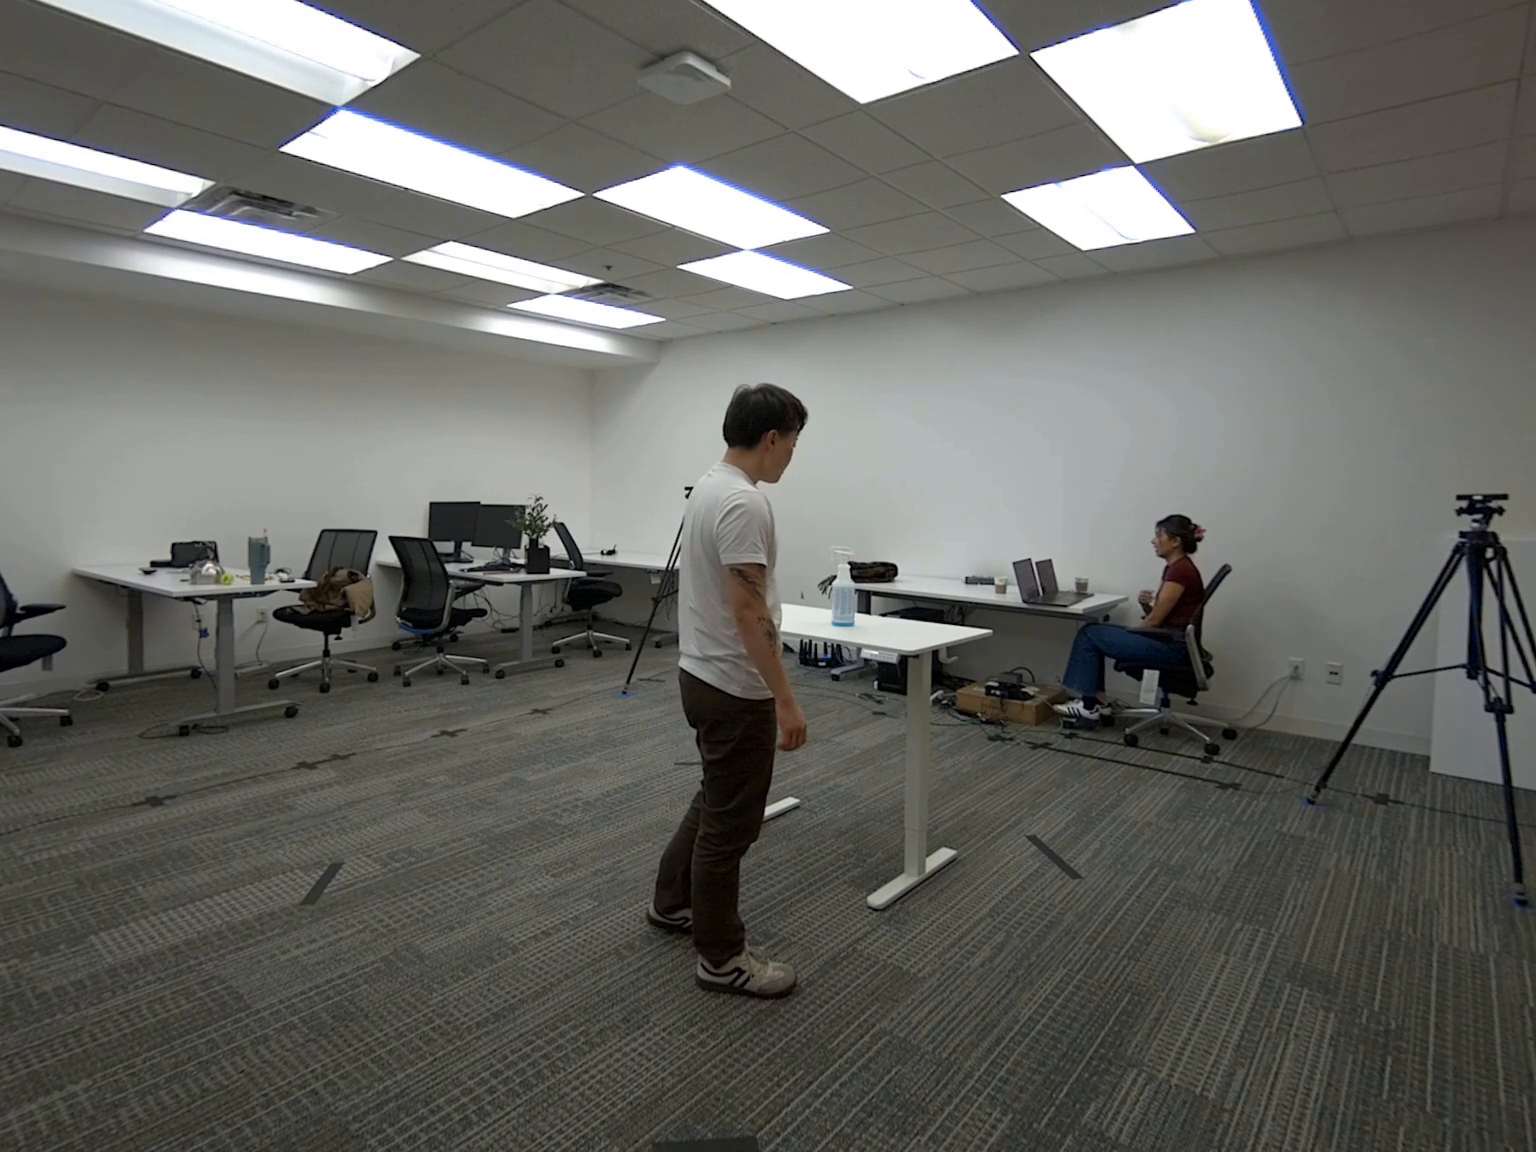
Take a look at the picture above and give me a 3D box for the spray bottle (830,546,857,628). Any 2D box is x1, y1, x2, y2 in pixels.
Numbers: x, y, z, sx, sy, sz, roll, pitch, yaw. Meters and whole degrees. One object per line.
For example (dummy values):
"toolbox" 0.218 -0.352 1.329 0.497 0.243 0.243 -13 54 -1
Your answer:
"spray bottle" 0.275 0.038 3.203 0.092 0.296 0.085 1 5 19
